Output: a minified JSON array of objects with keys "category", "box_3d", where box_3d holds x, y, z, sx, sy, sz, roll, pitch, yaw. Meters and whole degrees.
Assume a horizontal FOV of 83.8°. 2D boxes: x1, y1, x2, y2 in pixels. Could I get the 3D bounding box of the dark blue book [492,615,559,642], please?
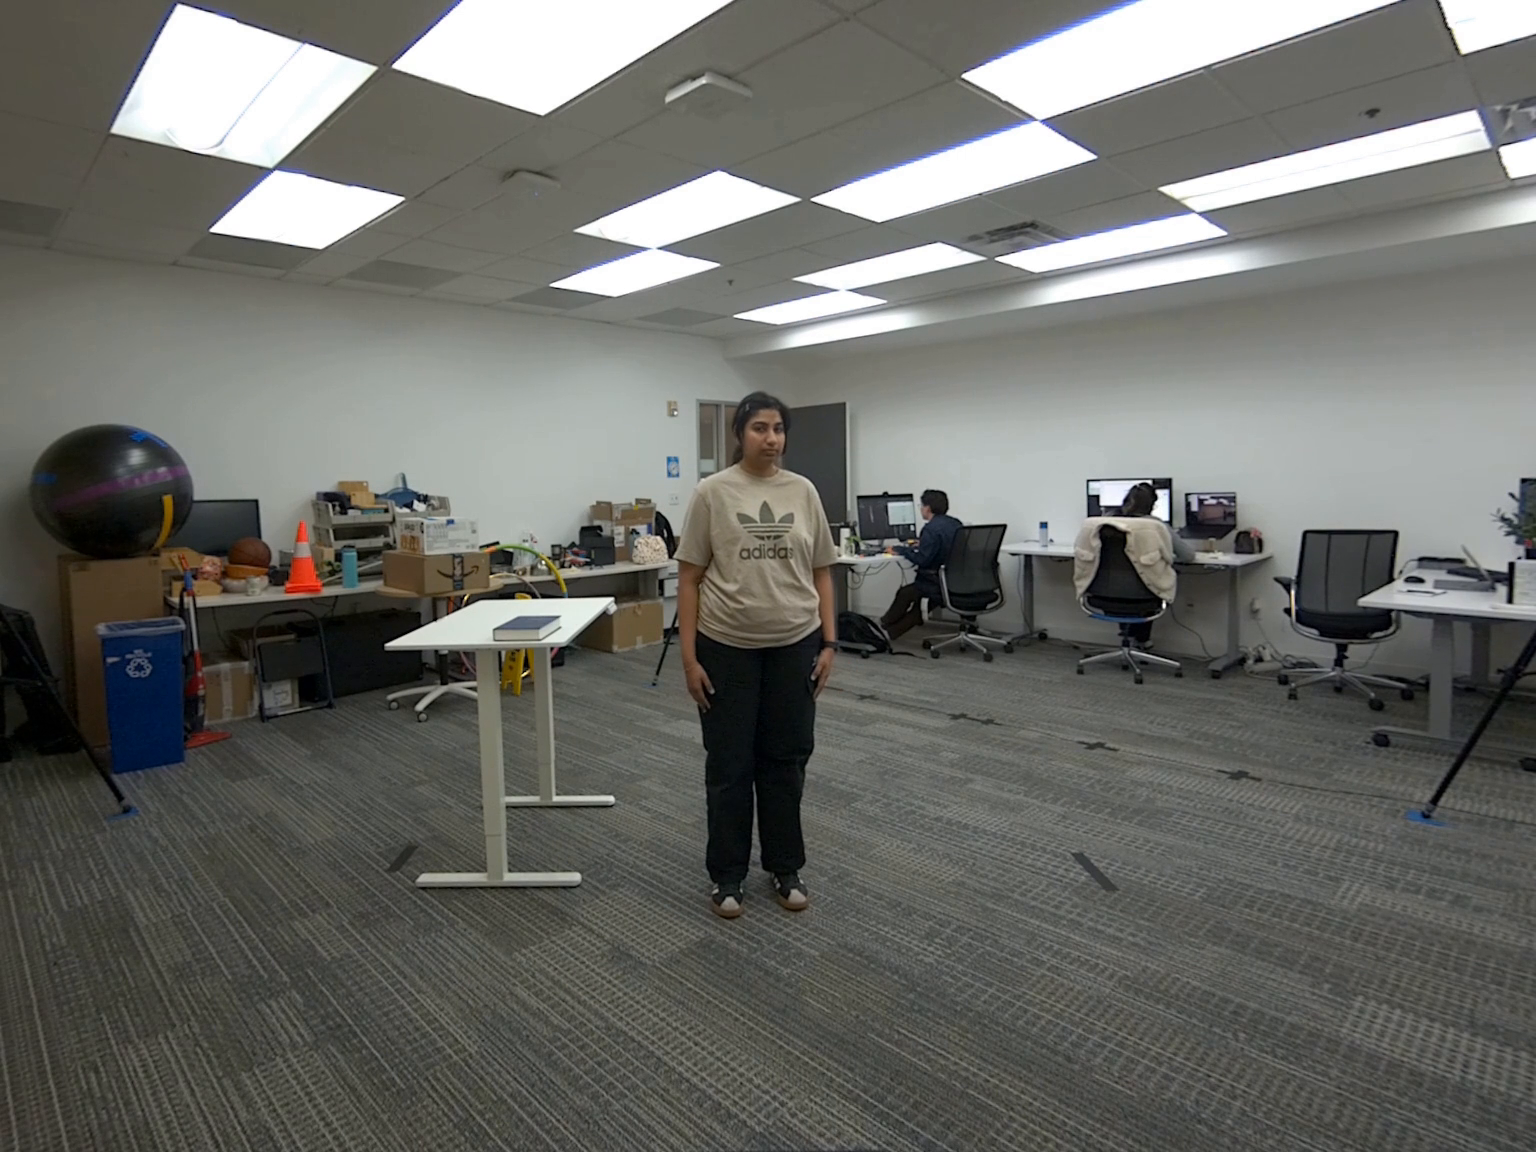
[{"category":"dark blue book","box_3d":[-0.827,0.176,2.945,0.164,0.045,0.245,-4,7,6]}]
